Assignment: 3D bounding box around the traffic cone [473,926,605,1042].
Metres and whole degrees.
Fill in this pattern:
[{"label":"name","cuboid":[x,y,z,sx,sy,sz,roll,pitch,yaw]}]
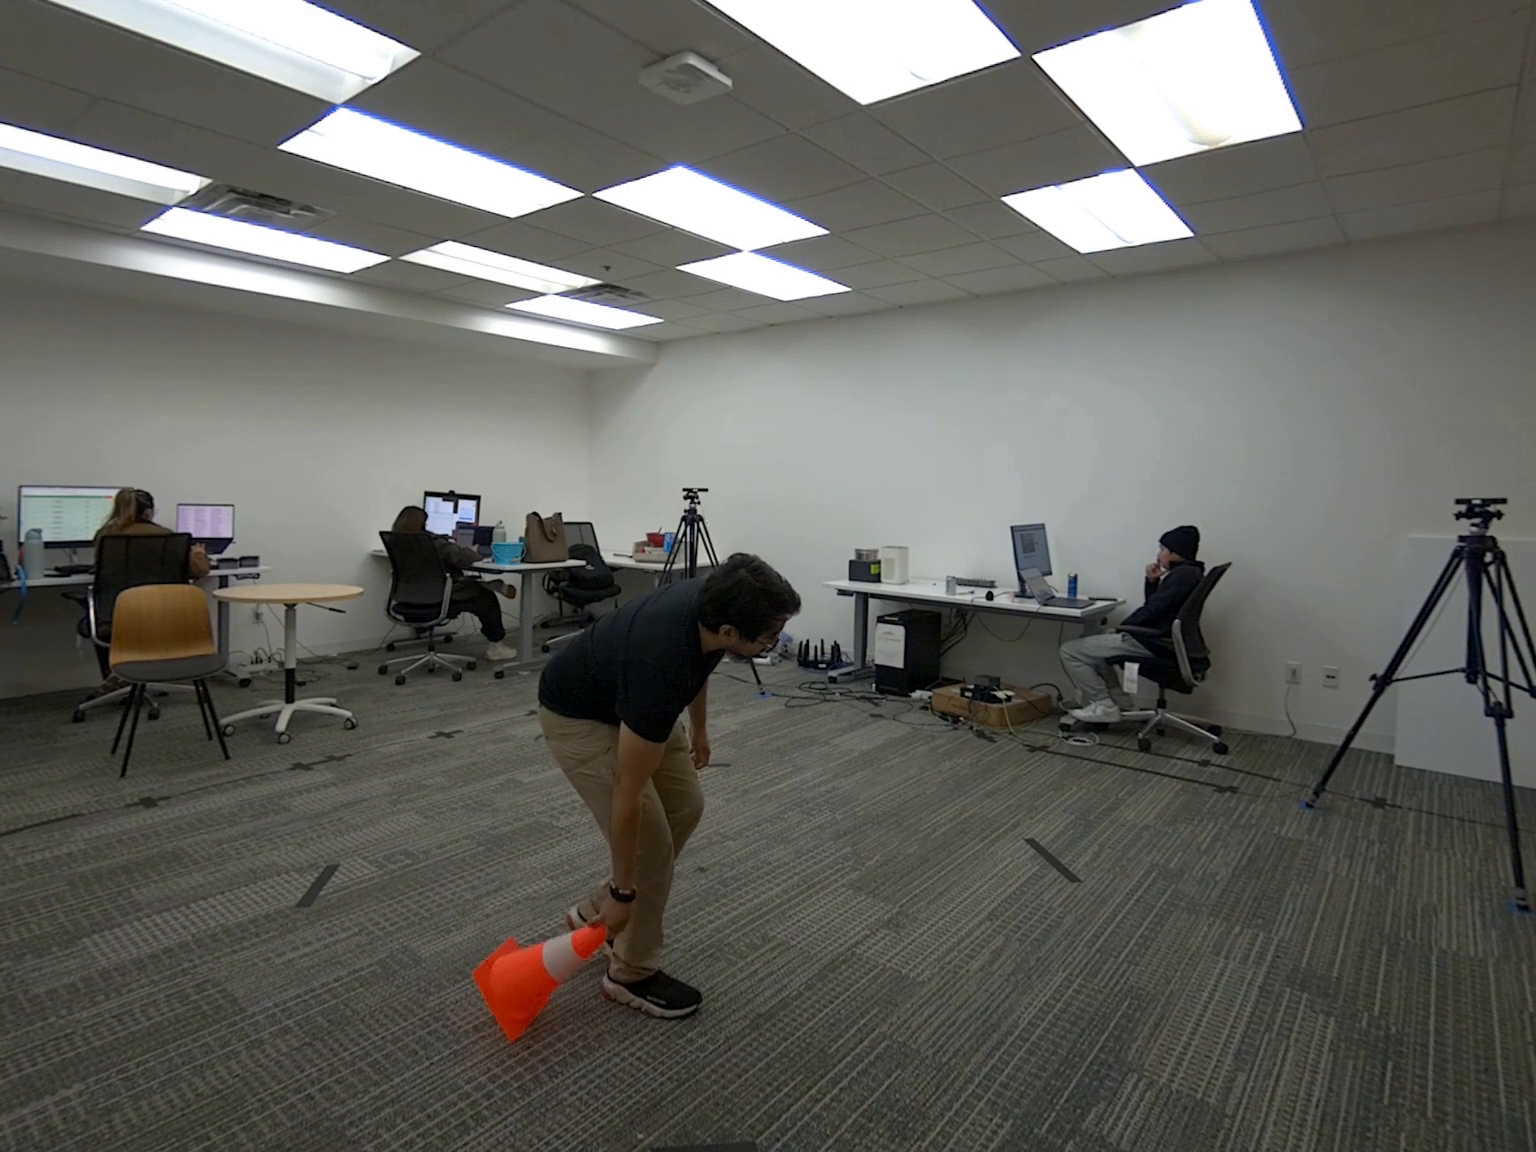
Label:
[{"label":"traffic cone","cuboid":[-0.533,0.970,2.165,0.385,0.205,0.202,-37,0,16]}]
